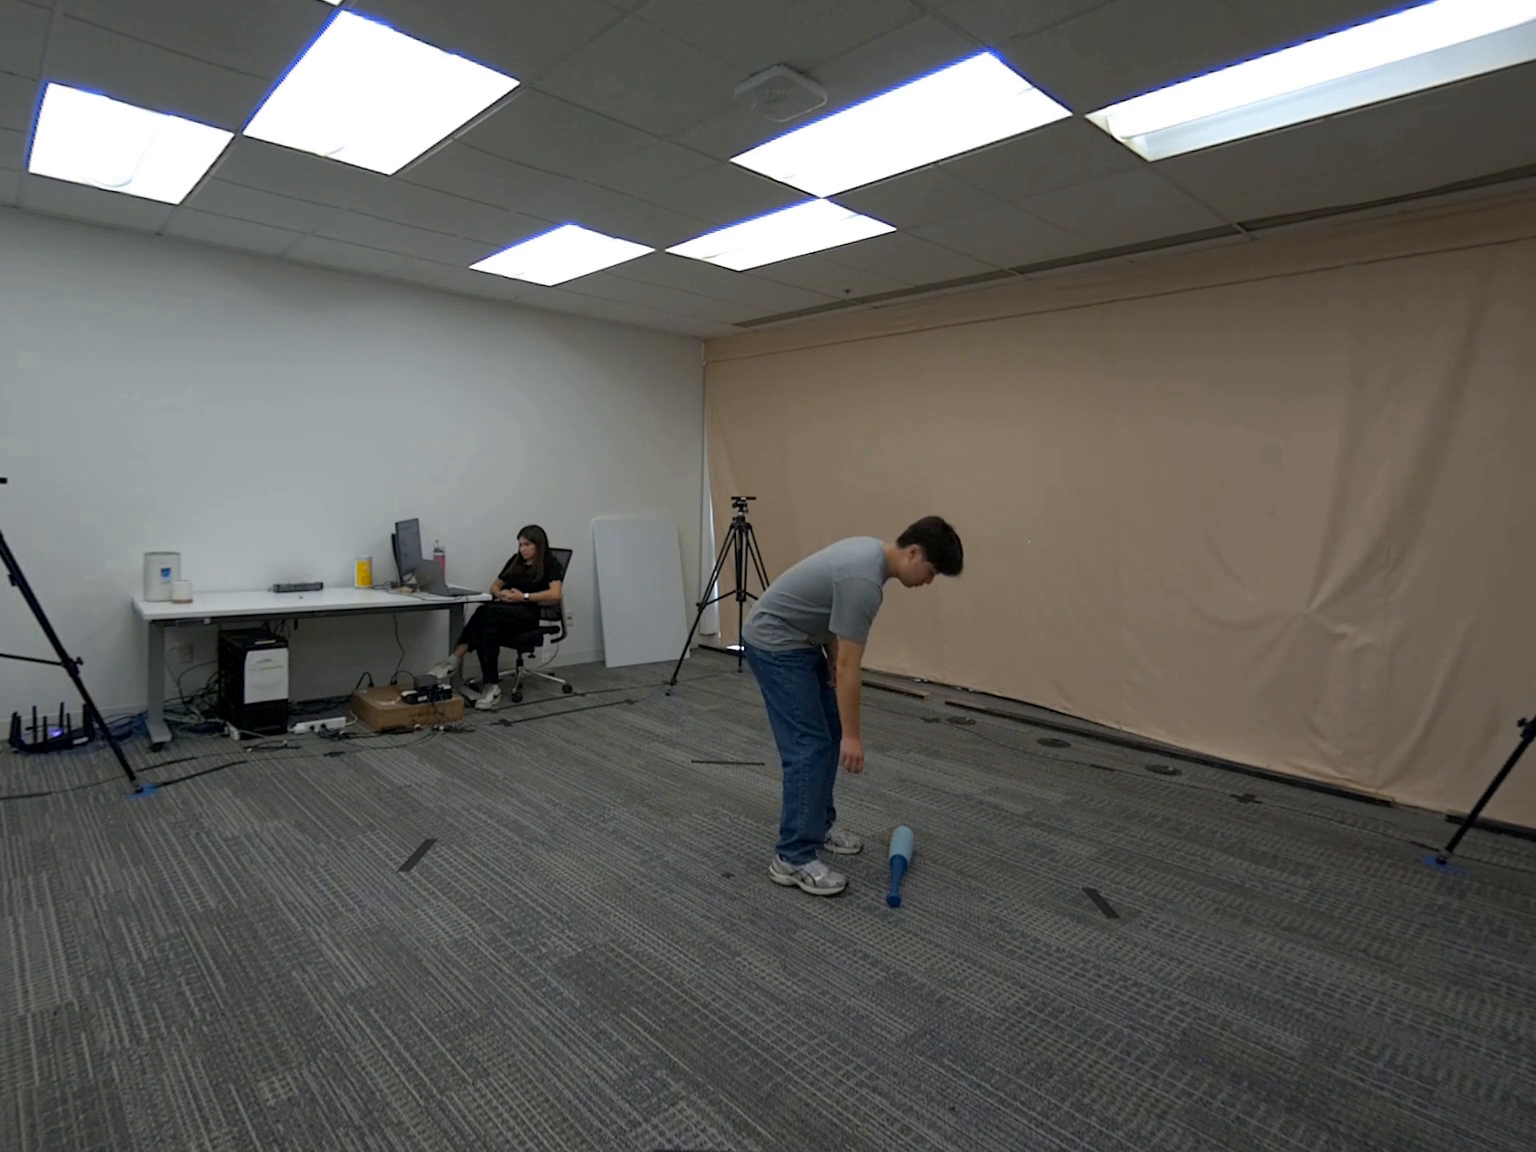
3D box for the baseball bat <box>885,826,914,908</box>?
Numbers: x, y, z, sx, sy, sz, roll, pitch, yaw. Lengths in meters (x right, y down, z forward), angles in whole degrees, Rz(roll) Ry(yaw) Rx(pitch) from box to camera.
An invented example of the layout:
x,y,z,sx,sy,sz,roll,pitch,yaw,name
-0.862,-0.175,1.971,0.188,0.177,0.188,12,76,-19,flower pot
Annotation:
x,y,z,sx,sy,sz,roll,pitch,yaw,name
0.480,1.078,3.140,0.090,0.089,0.539,2,7,12,baseball bat
